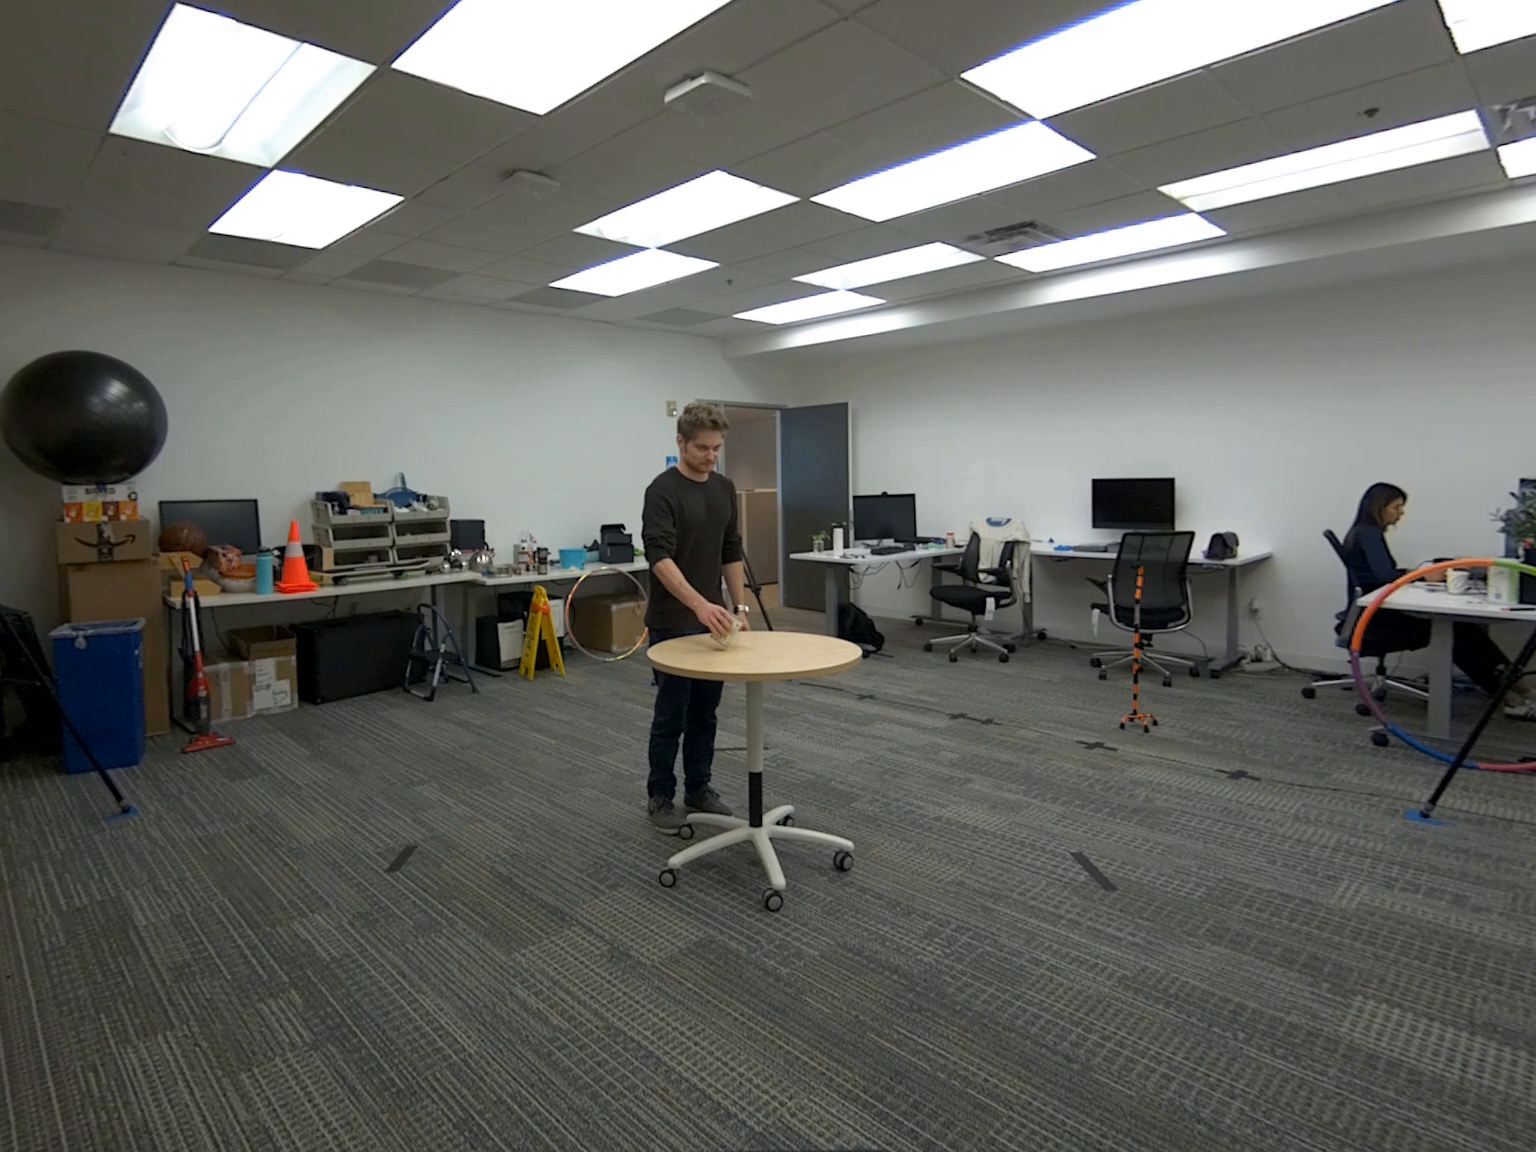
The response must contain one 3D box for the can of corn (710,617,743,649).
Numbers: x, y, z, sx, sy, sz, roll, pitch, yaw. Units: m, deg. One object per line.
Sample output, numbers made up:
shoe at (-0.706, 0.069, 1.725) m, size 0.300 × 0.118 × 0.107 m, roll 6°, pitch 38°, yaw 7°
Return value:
can of corn at (-0.150, 0.195, 3.064) m, size 0.074 × 0.111 × 0.074 m, roll 32°, pitch -3°, yaw 0°
